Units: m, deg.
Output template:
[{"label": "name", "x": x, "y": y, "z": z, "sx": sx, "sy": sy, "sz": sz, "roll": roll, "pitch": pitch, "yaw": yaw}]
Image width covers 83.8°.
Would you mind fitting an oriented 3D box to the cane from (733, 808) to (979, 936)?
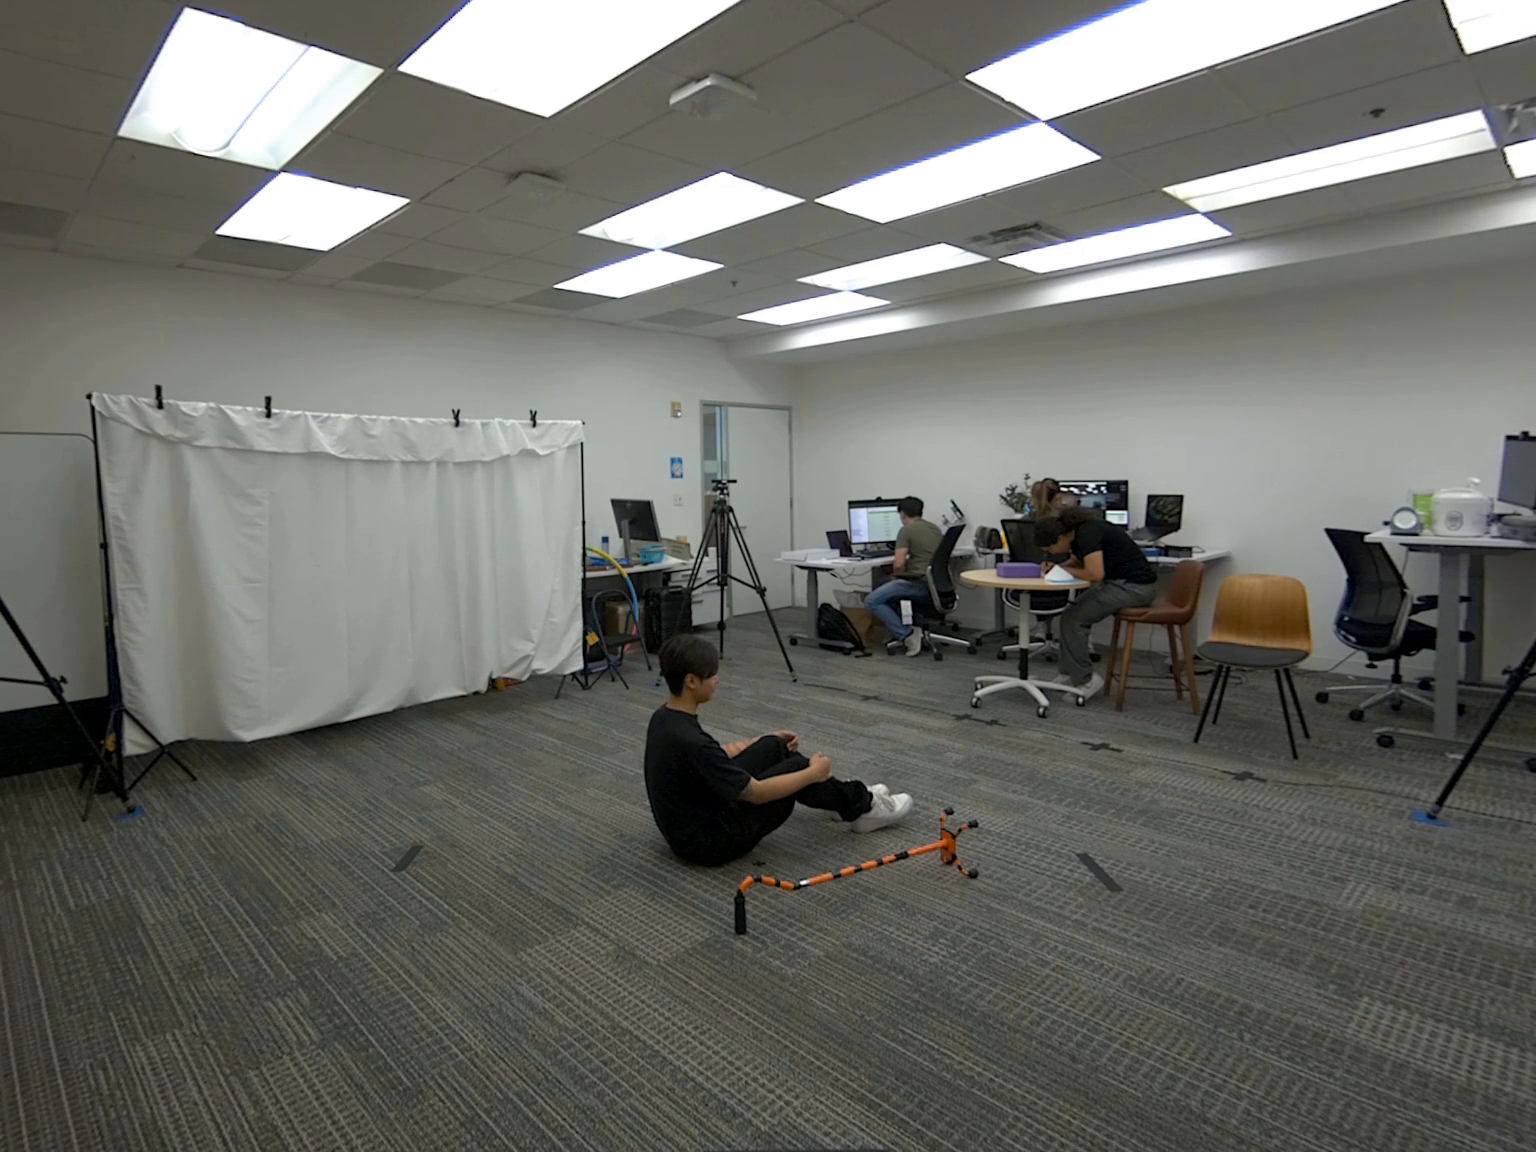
[{"label": "cane", "x": 0.298, "y": 0.966, "z": 2.821, "sx": 0.889, "sy": 0.205, "sz": 0.156, "roll": -4, "pitch": 7, "yaw": -26}]
